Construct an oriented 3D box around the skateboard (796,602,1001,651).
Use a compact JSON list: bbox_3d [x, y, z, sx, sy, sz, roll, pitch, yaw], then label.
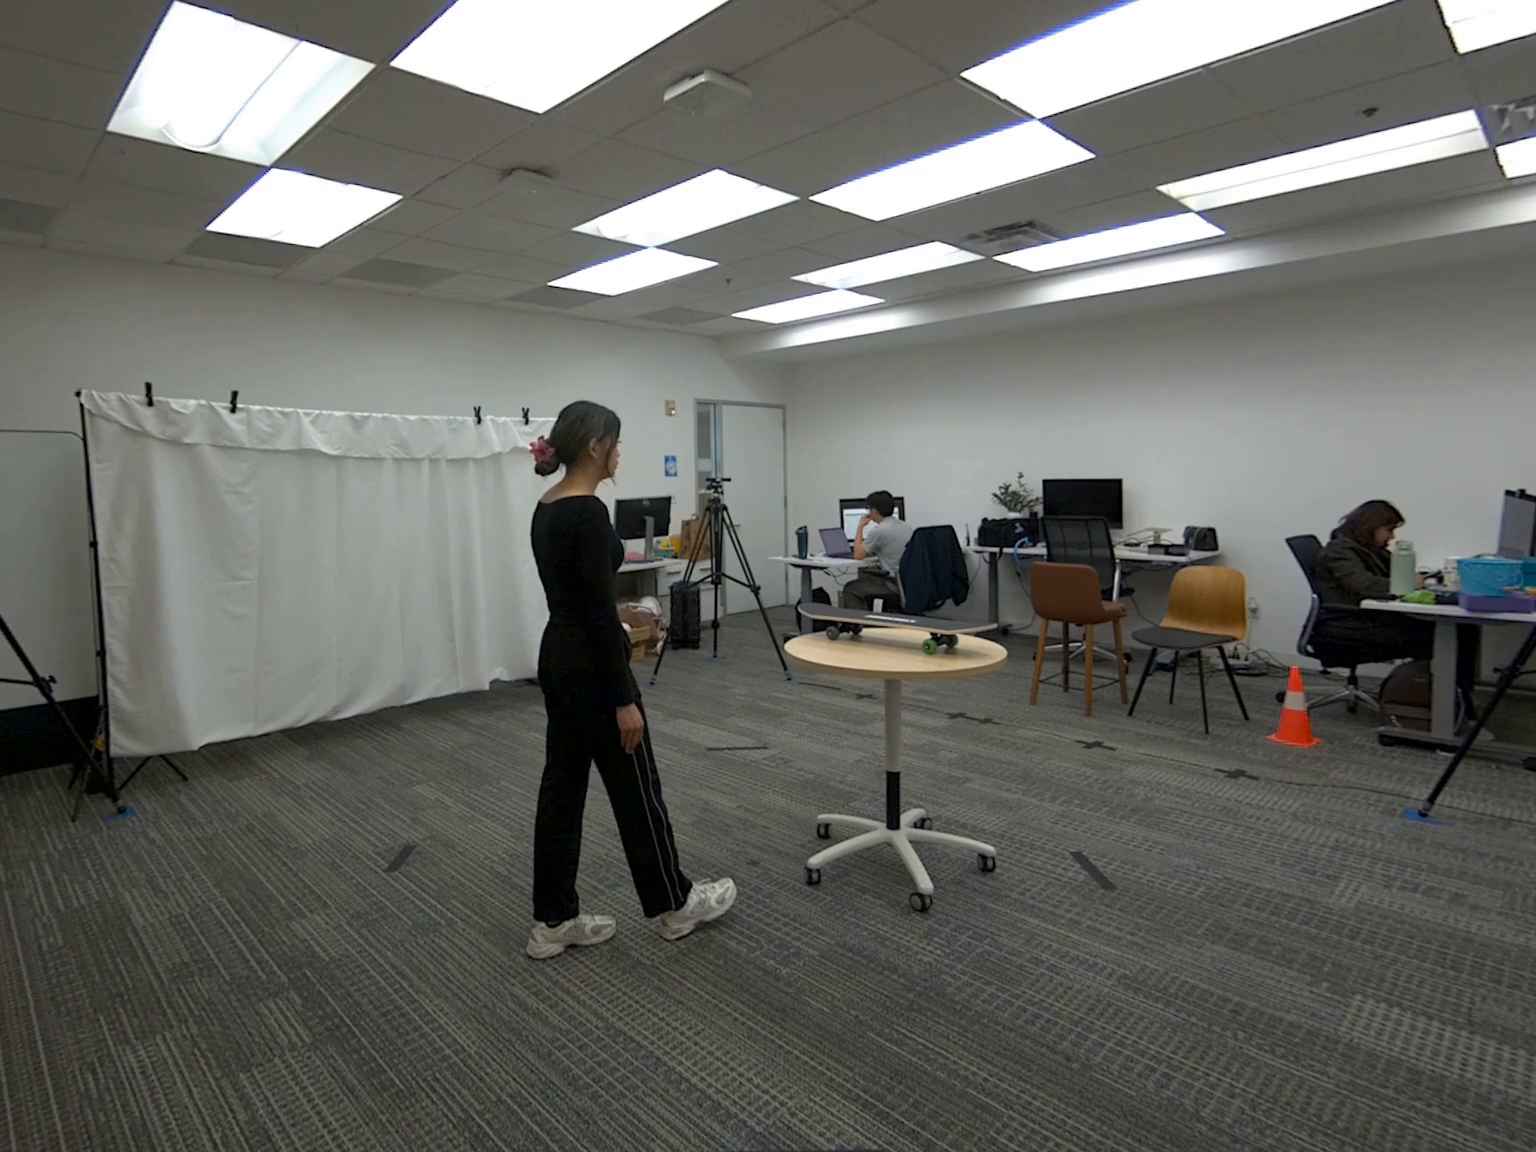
[{"bbox_3d":[0.450,0.198,3.081,0.809,0.110,0.188,4,6,41],"label":"skateboard"}]
